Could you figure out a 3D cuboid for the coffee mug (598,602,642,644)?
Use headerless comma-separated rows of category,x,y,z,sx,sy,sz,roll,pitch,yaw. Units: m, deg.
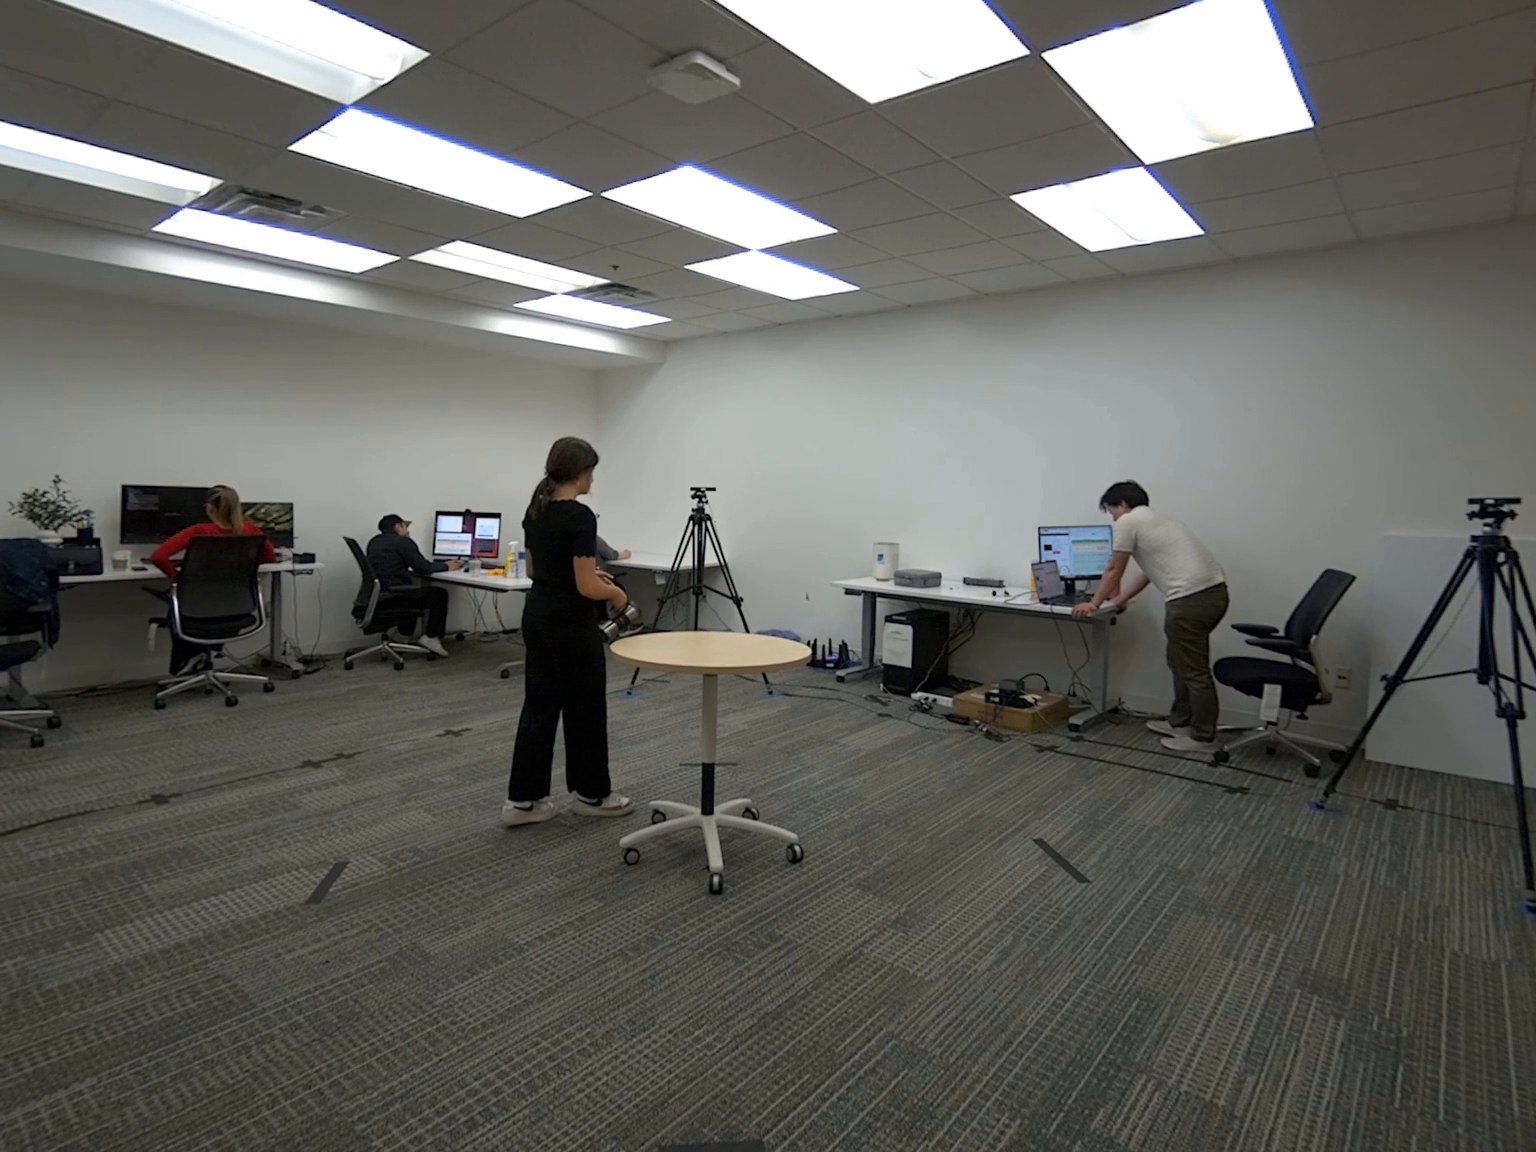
coffee mug,-0.679,0.178,3.672,0.202,0.126,0.085,-38,-25,-23
